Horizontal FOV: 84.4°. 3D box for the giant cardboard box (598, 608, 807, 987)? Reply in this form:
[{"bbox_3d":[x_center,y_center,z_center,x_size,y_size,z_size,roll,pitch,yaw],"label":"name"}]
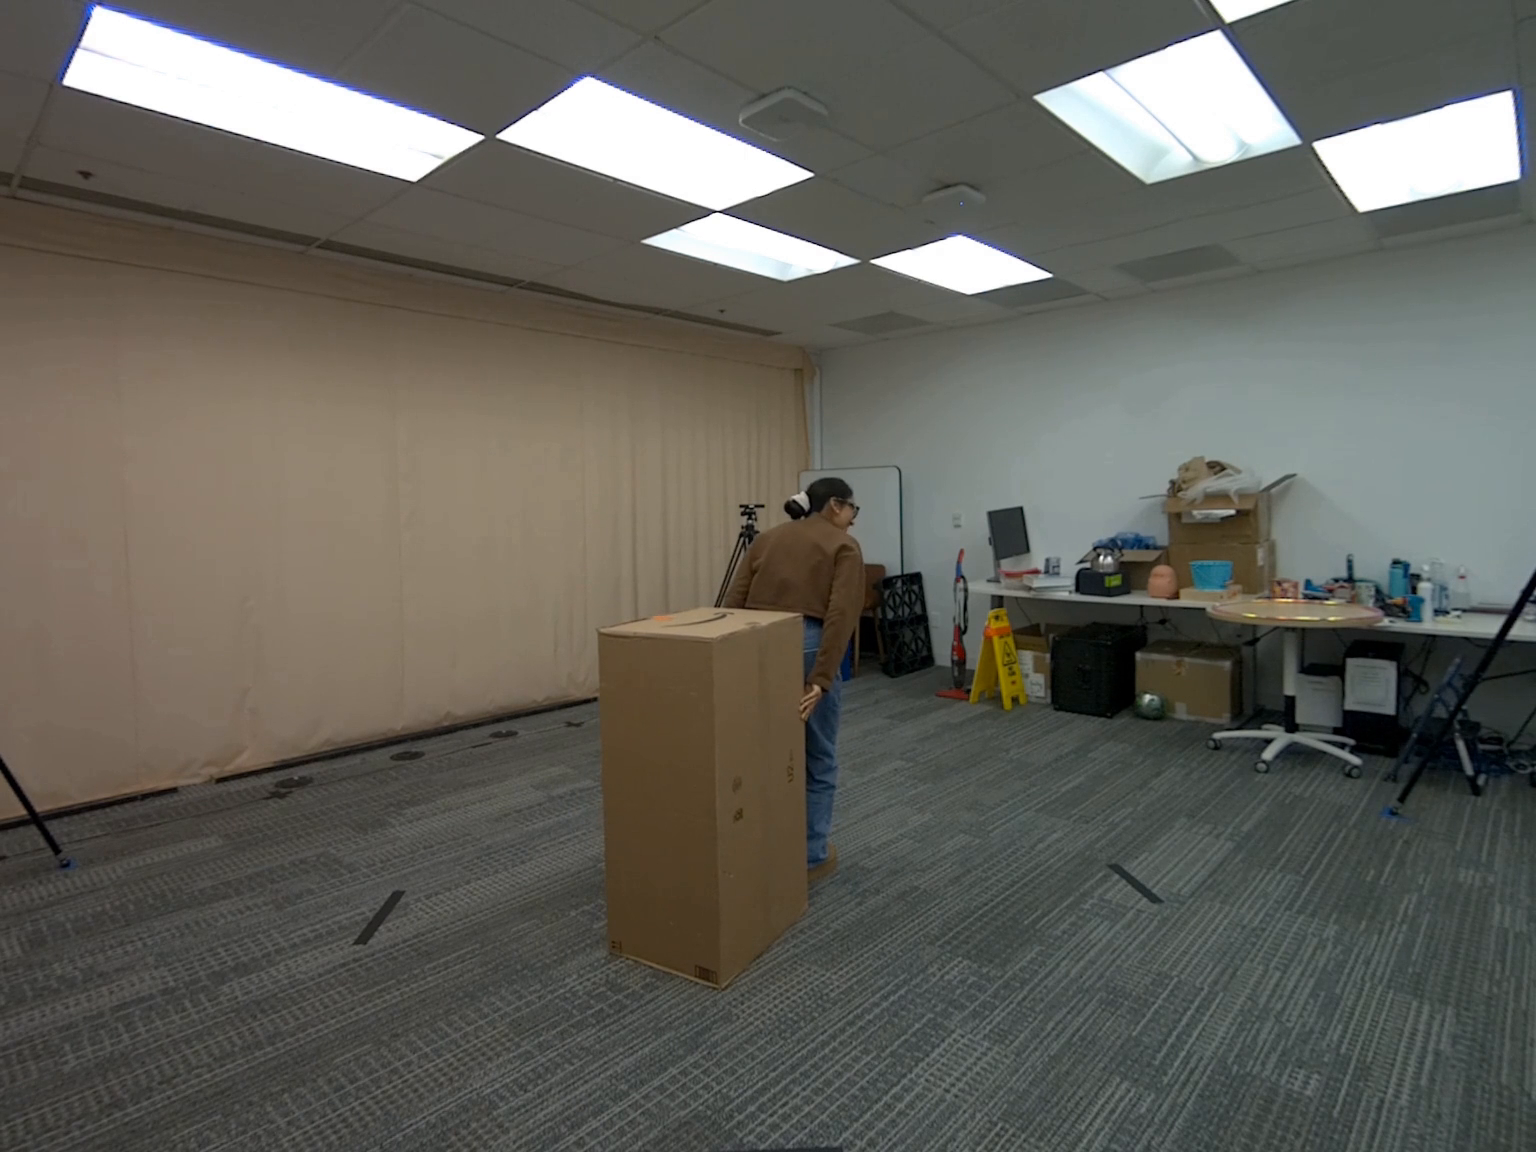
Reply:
[{"bbox_3d":[-0.199,0.659,2.735,0.459,1.024,0.569,1,4,29],"label":"giant cardboard box"}]
